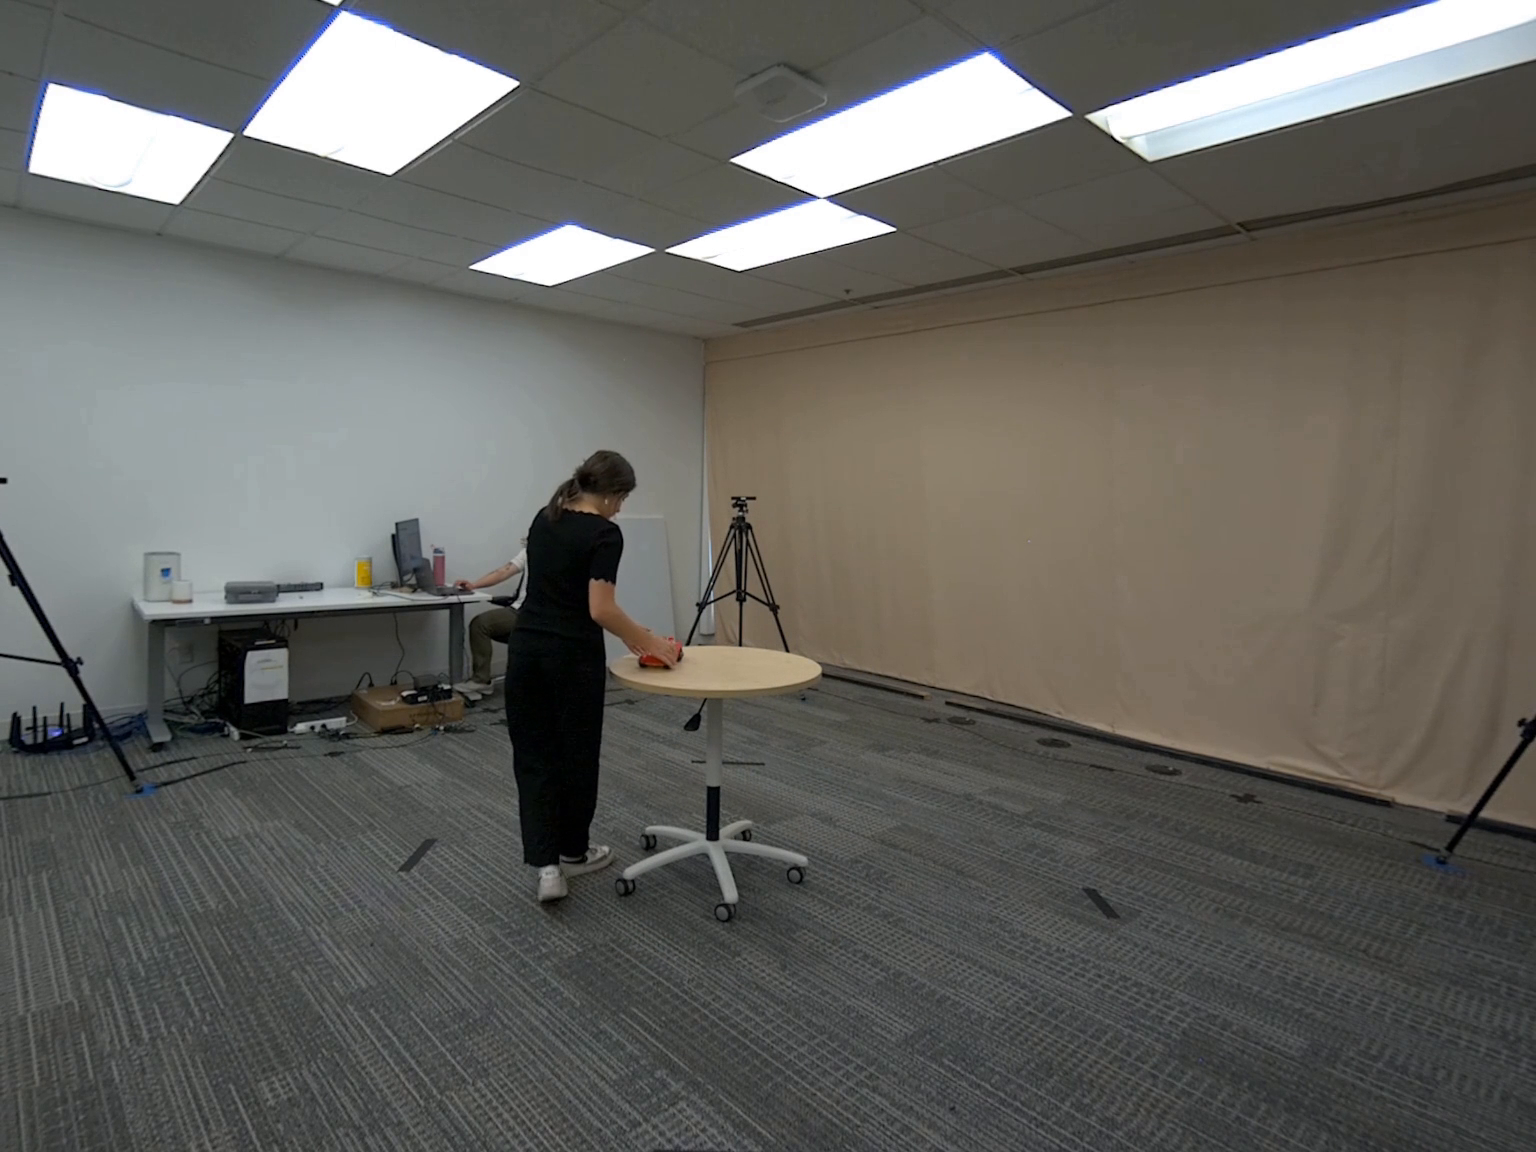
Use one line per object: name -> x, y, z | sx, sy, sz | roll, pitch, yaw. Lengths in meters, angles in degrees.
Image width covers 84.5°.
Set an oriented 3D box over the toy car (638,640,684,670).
toy car -> -0.392, 0.287, 3.079 | 0.131, 0.082, 0.255 | 2, 16, 9
